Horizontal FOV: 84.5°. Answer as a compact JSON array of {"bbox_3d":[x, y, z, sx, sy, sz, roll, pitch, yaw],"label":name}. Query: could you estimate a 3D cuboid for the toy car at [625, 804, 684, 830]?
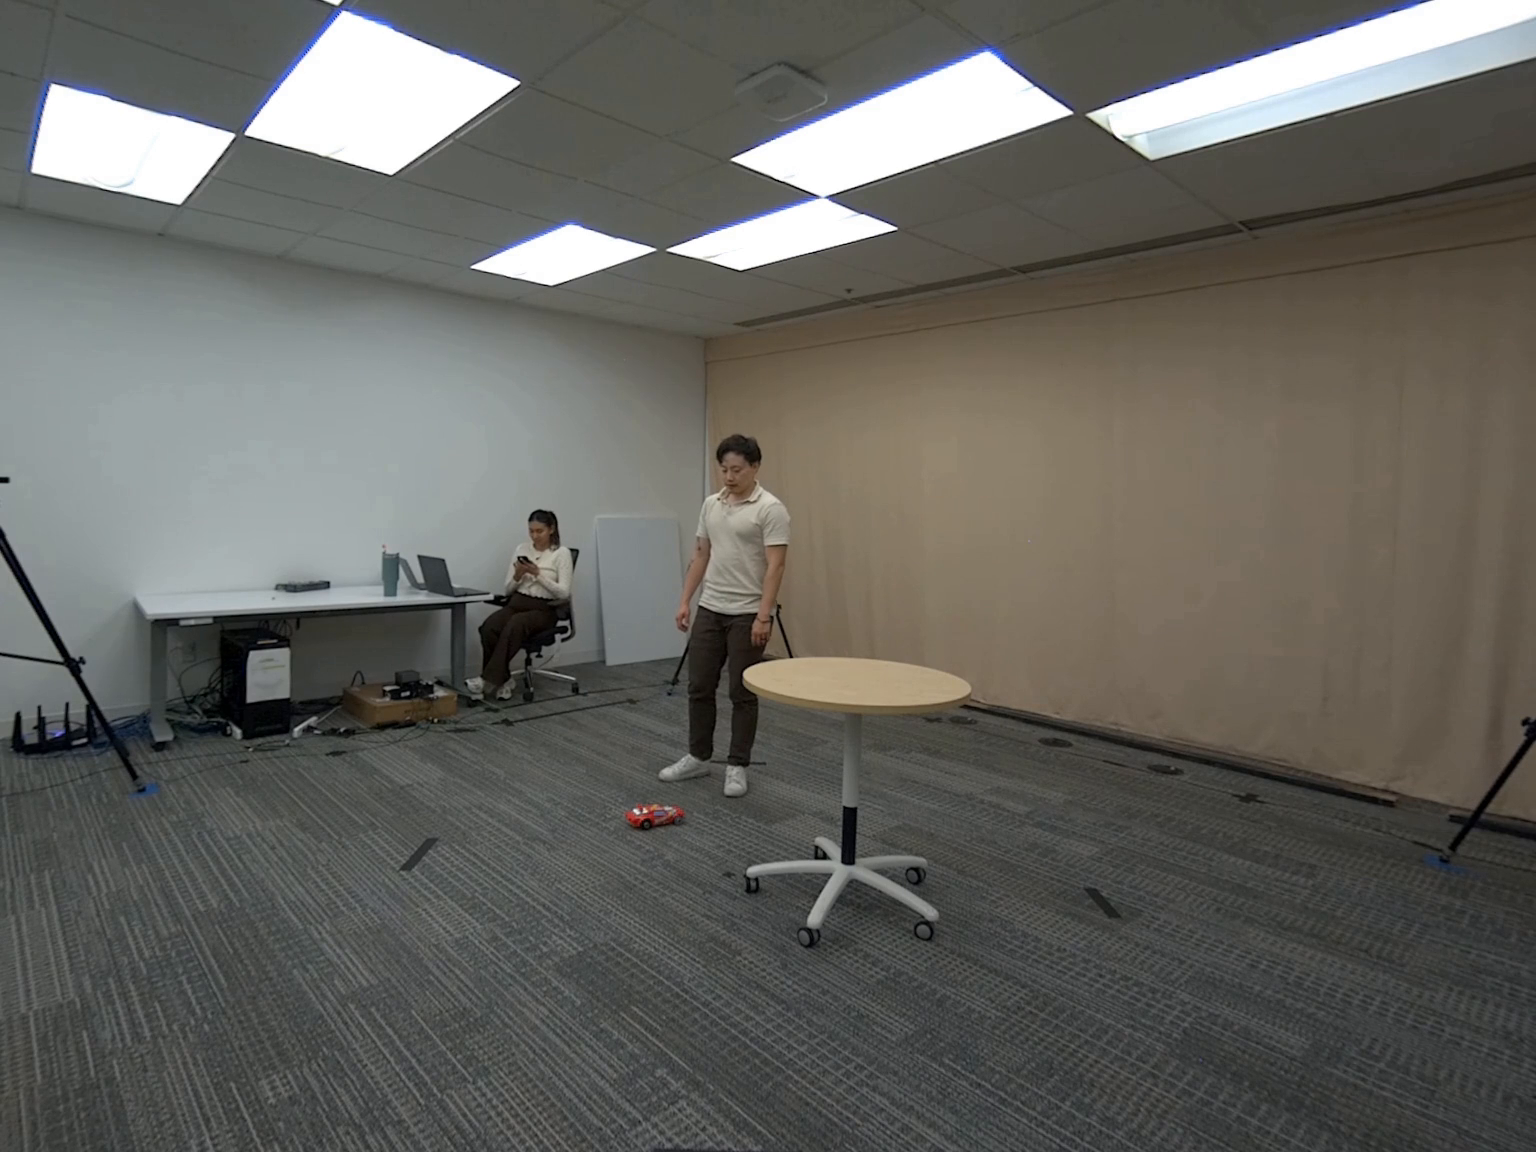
[{"bbox_3d":[-0.509,1.023,3.577,0.249,0.083,0.133,12,-1,-28],"label":"toy car"}]
